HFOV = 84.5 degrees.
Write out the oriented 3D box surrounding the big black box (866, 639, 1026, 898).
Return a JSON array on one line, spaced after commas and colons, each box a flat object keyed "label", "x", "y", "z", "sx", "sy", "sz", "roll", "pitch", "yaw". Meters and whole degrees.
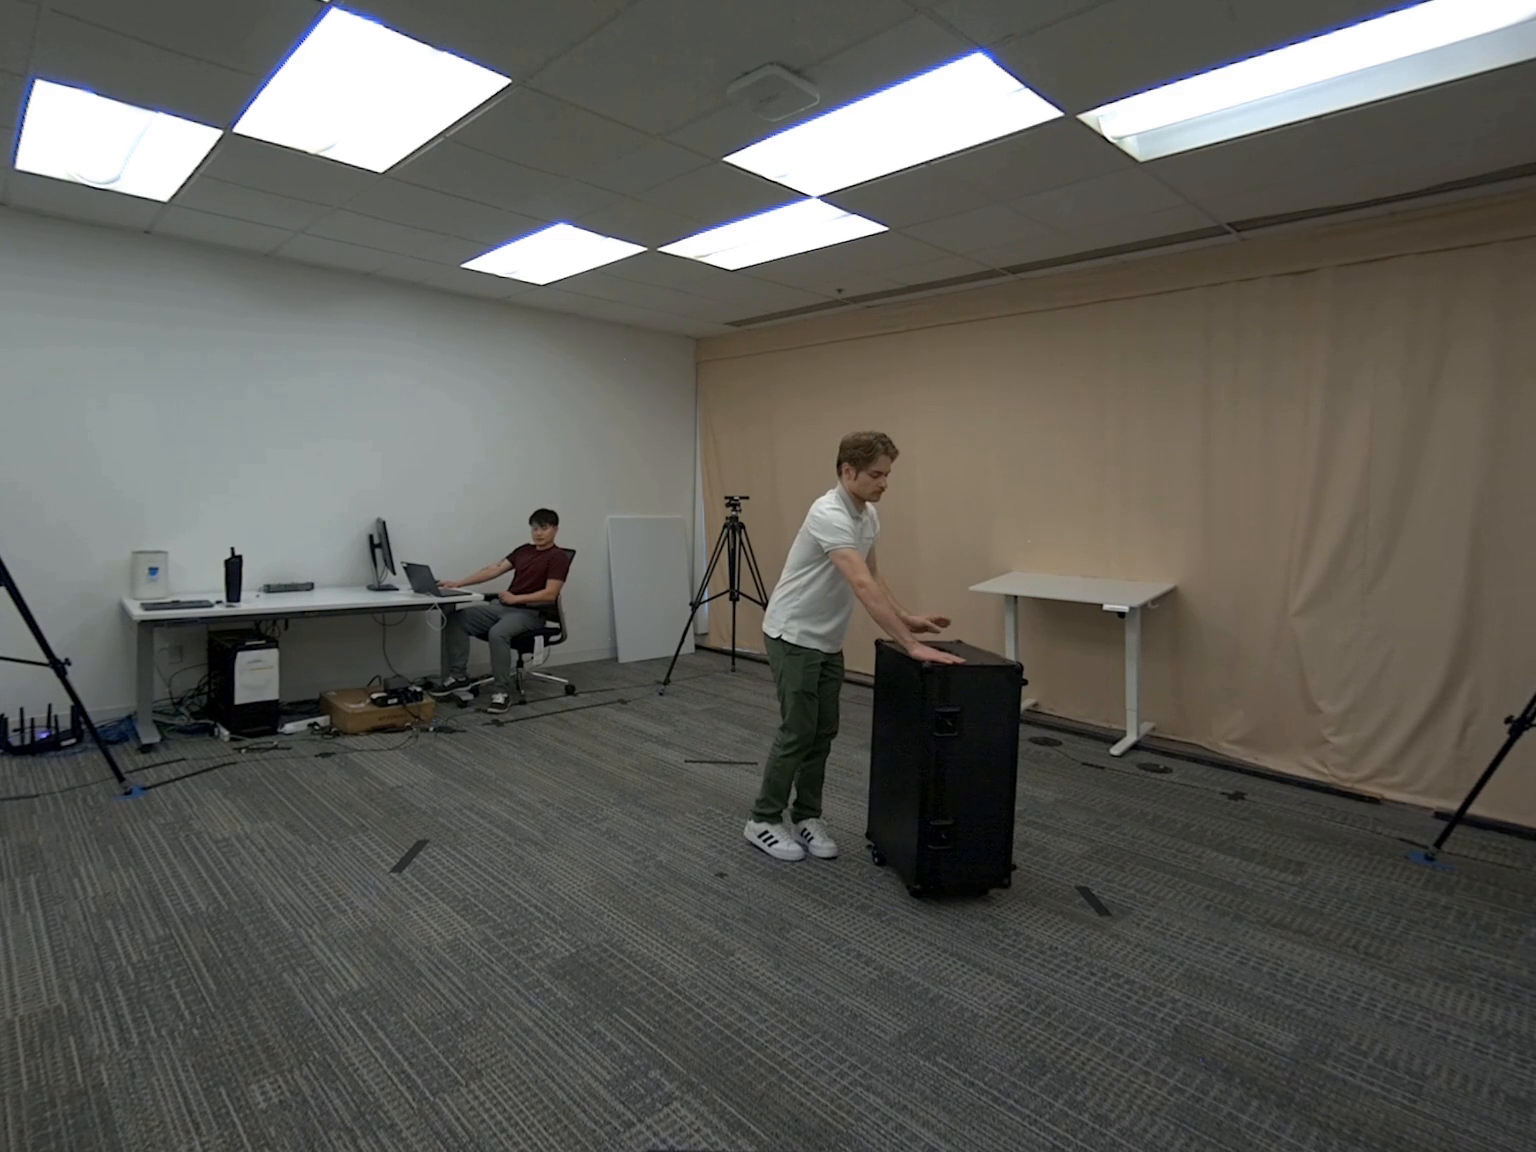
[{"label": "big black box", "x": 0.615, "y": 0.696, "z": 3.097, "sx": 0.381, "sy": 0.866, "sz": 0.531, "roll": 0, "pitch": 4, "yaw": -16}]
